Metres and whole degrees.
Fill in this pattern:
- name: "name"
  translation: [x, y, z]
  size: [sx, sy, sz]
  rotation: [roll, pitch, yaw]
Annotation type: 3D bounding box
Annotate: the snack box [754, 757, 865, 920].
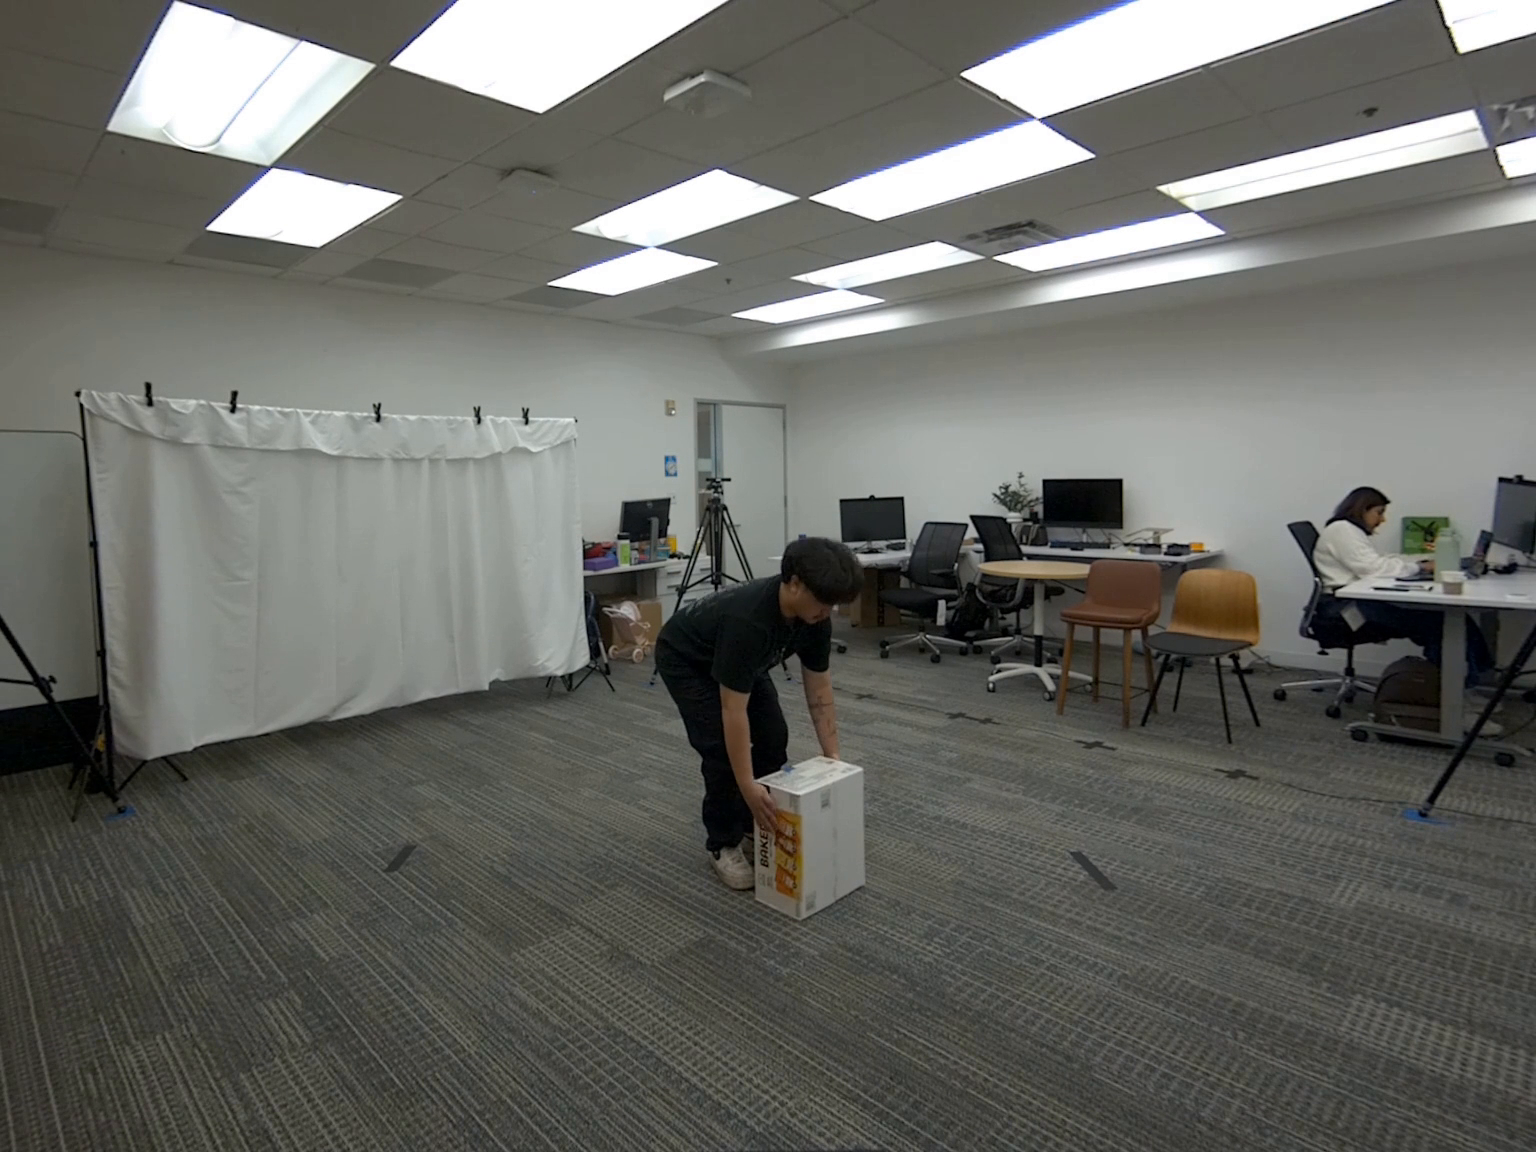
- name: "snack box"
  translation: [0.135, 0.863, 2.867]
  size: [0.212, 0.404, 0.331]
  rotation: [3, 5, 44]
